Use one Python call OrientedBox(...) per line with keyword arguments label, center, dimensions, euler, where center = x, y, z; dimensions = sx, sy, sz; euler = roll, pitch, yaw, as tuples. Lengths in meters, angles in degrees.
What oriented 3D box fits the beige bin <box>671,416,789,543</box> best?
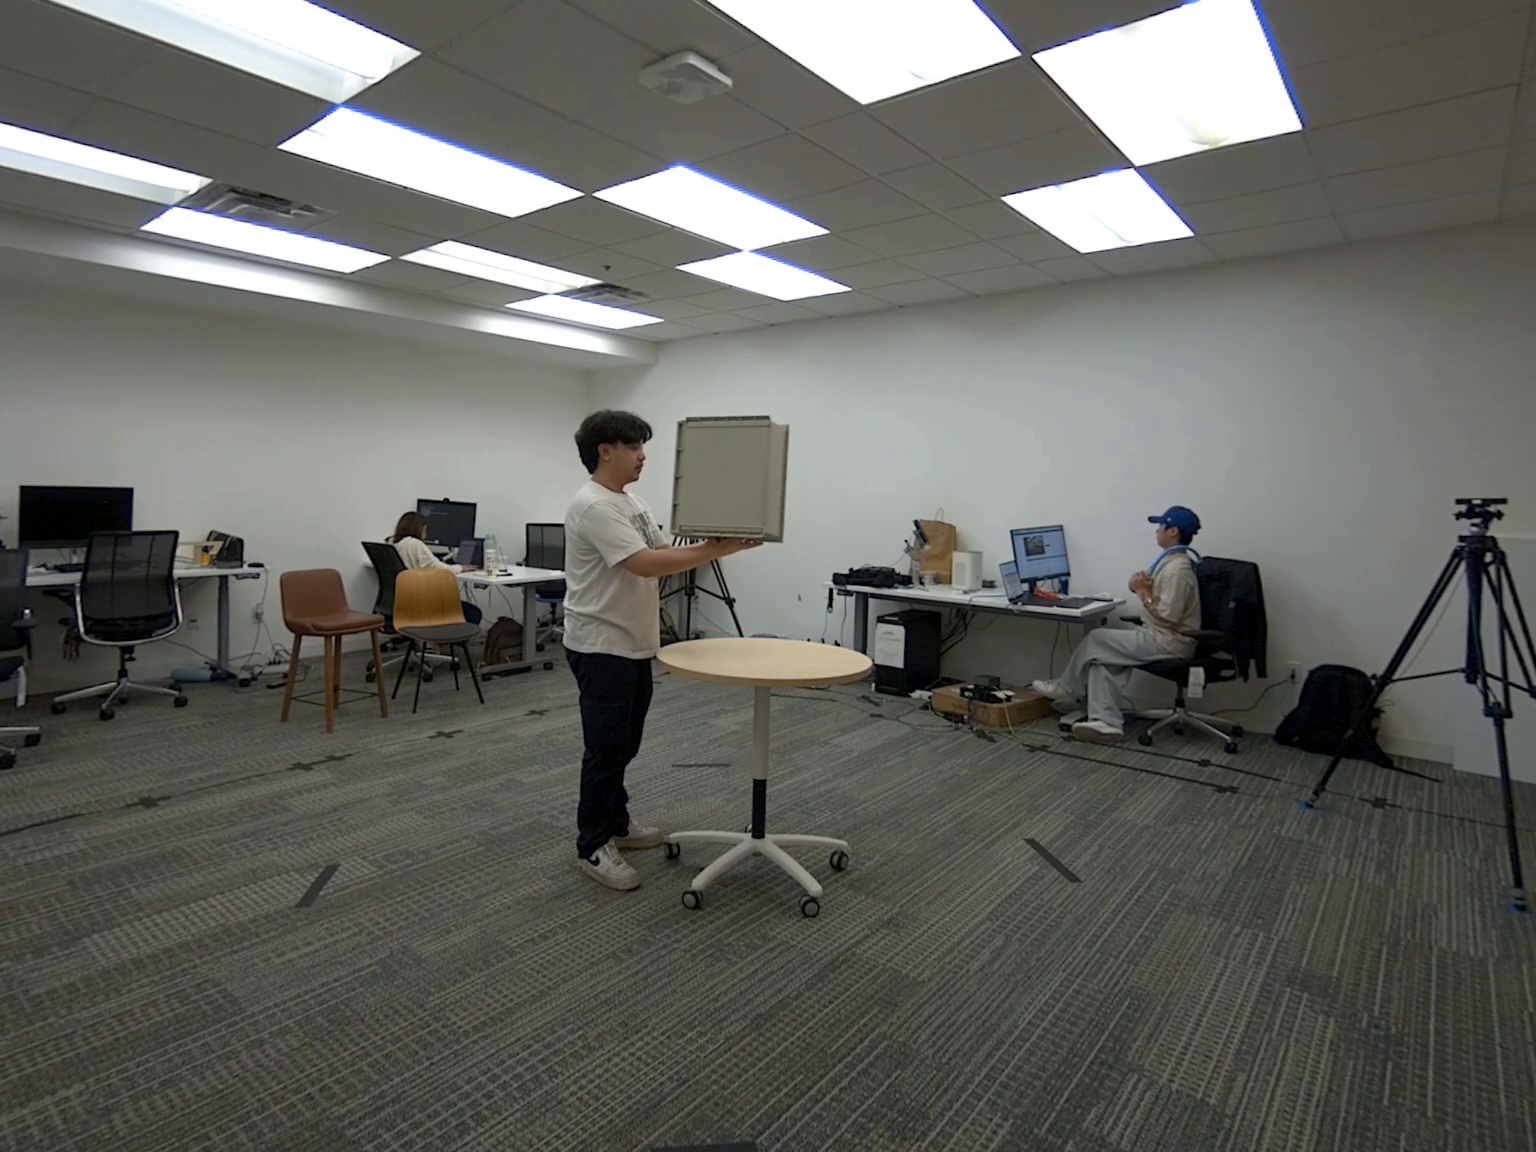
OrientedBox(label="beige bin", center=(-0.152, -0.349, 3.005), dimensions=(0.386, 0.423, 0.184), euler=(2, -2, 23))
